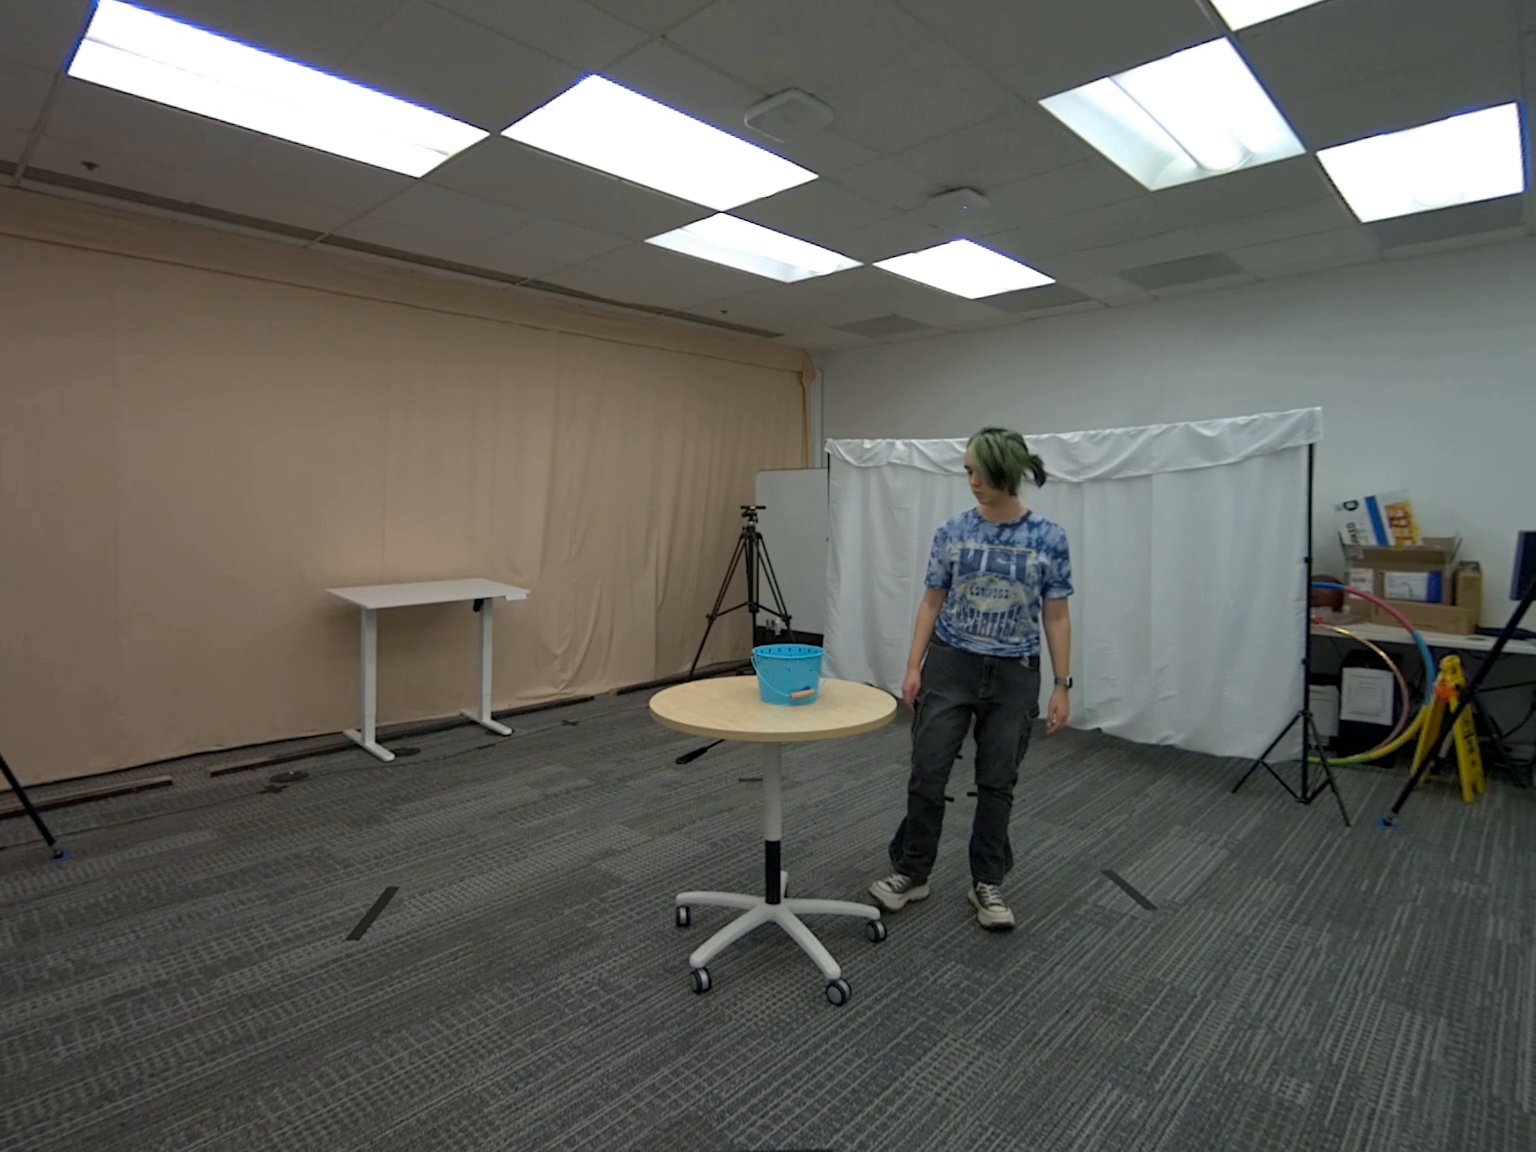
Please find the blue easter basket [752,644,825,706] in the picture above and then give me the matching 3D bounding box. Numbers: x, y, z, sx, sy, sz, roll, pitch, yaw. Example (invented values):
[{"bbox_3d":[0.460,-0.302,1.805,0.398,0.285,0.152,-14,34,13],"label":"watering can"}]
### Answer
[{"bbox_3d":[0.072,0.315,2.630,0.243,0.155,0.244,-1,5,-2],"label":"blue easter basket"}]
